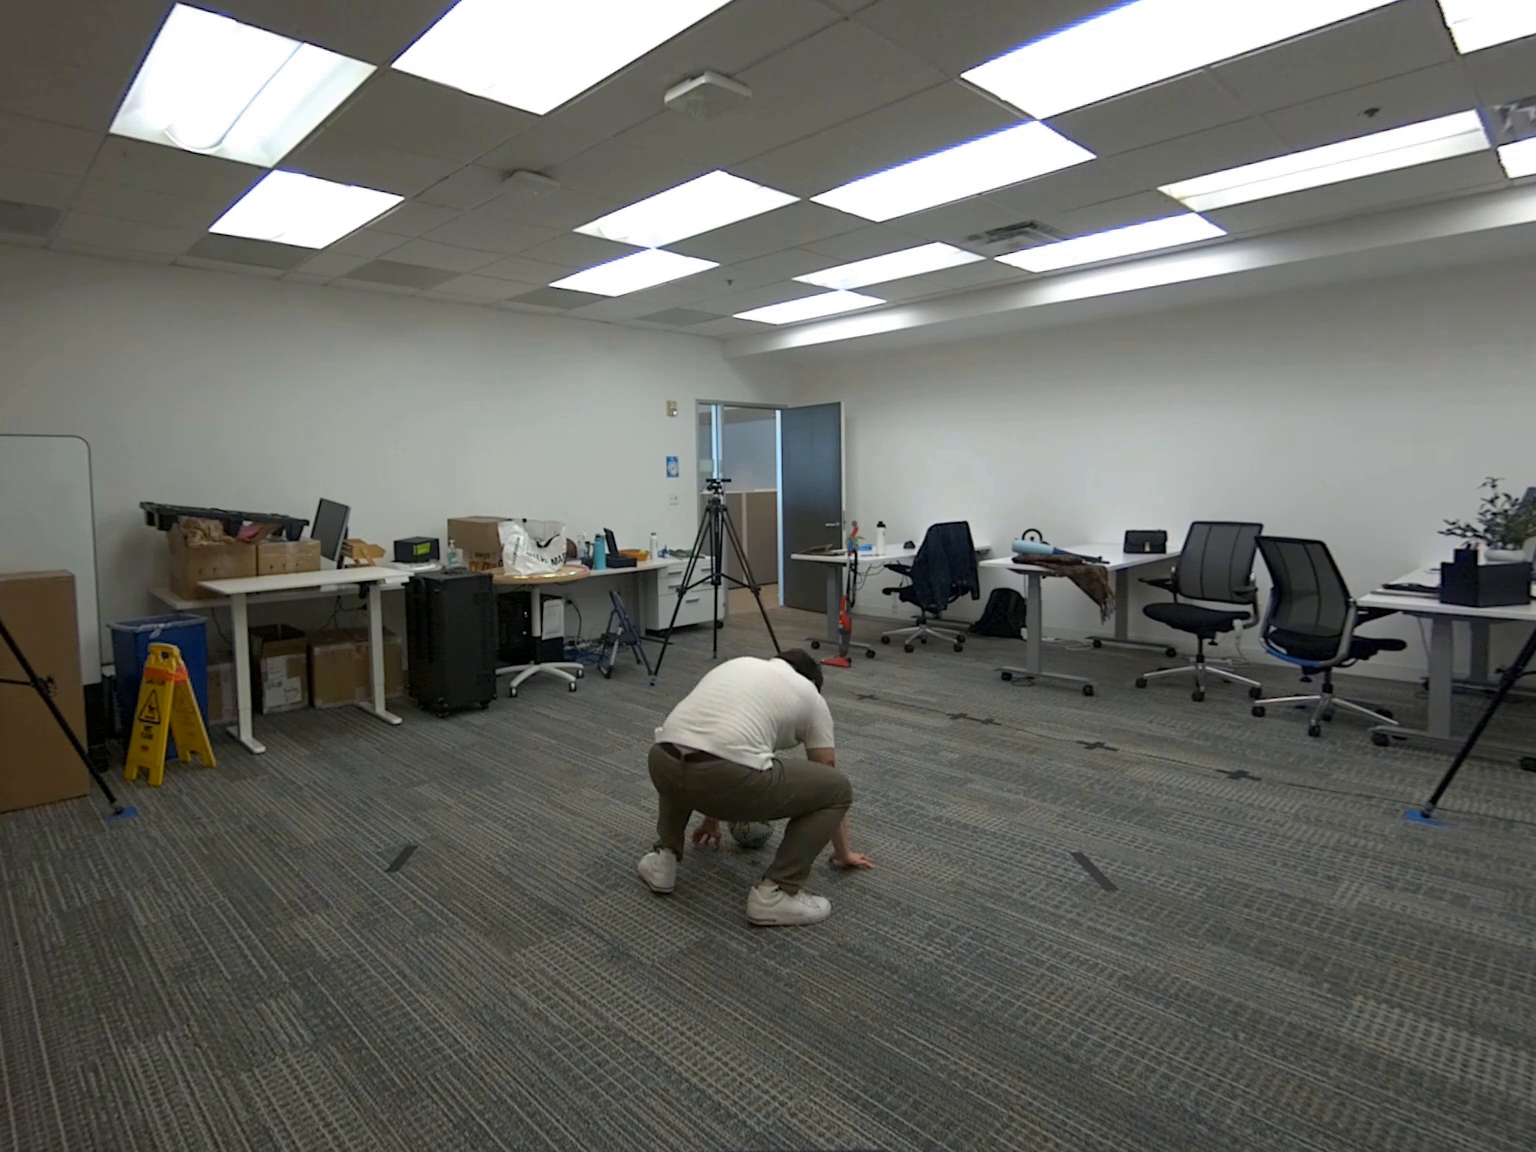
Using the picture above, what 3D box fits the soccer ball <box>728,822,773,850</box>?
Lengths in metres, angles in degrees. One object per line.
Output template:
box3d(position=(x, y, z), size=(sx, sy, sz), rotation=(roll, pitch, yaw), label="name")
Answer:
box3d(position=(-0.059, 0.936, 3.260), size=(0.187, 0.187, 0.188), rotation=(-1, 5, -2), label="soccer ball")
